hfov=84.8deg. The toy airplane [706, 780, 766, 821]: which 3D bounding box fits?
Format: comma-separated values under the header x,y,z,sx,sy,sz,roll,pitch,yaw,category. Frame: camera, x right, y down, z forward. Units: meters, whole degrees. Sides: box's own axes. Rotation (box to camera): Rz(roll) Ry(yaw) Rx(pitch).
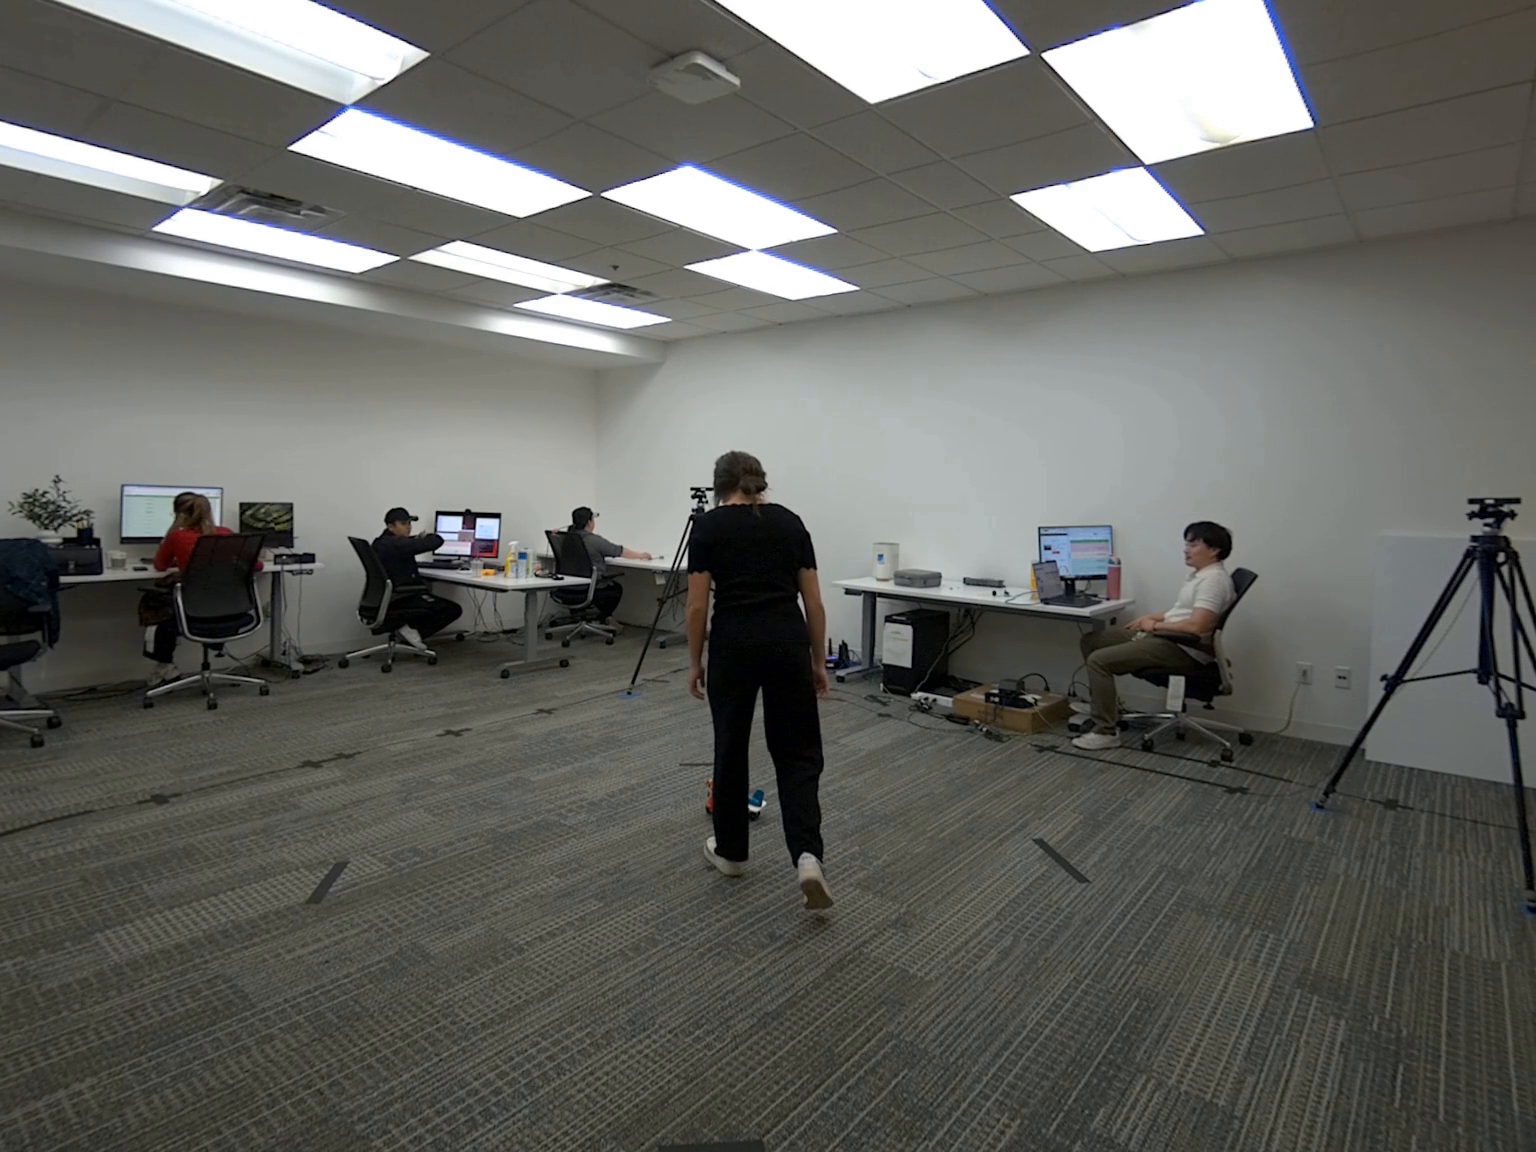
x,y,z,sx,sy,sz,roll,pitch,yaw,category
-0.143,0.940,3.653,0.258,0.156,0.253,-1,6,-4,toy airplane
